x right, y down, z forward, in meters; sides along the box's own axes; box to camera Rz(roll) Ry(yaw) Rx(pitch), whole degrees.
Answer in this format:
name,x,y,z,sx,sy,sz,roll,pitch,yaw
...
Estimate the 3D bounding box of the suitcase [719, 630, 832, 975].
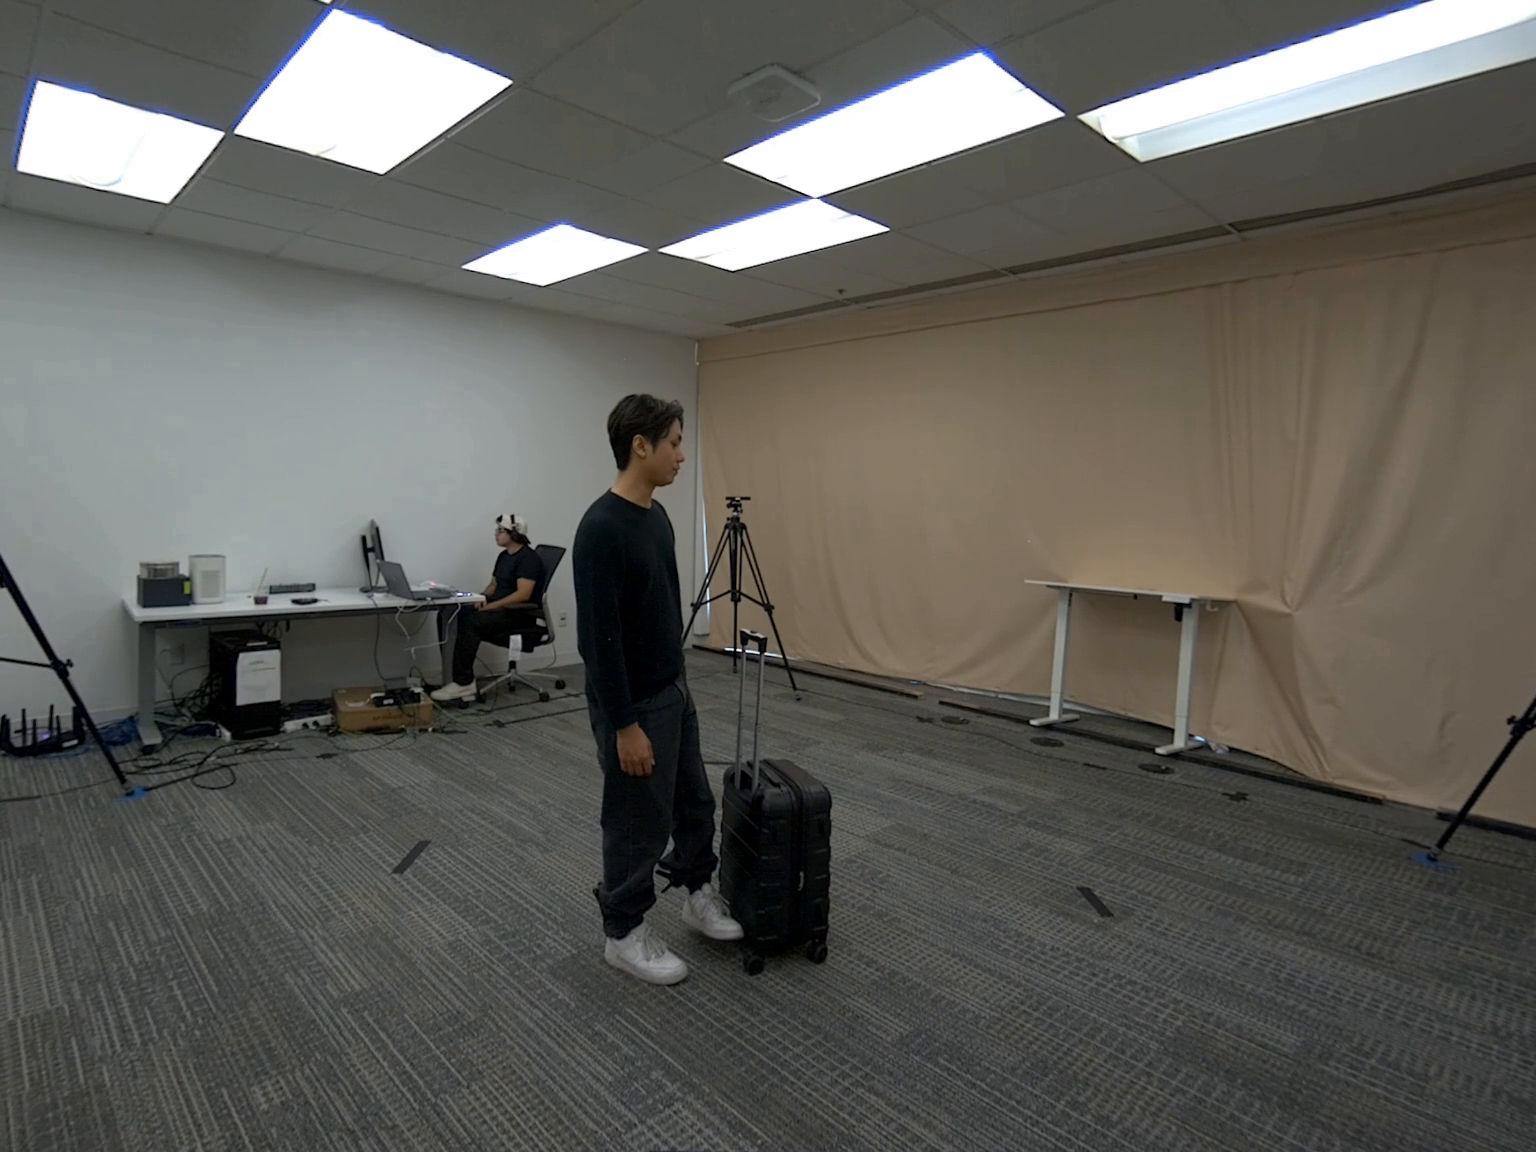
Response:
name,x,y,z,sx,sy,sz,roll,pitch,yaw
suitcase,0.032,0.676,2.632,0.253,0.977,0.391,3,2,-22
